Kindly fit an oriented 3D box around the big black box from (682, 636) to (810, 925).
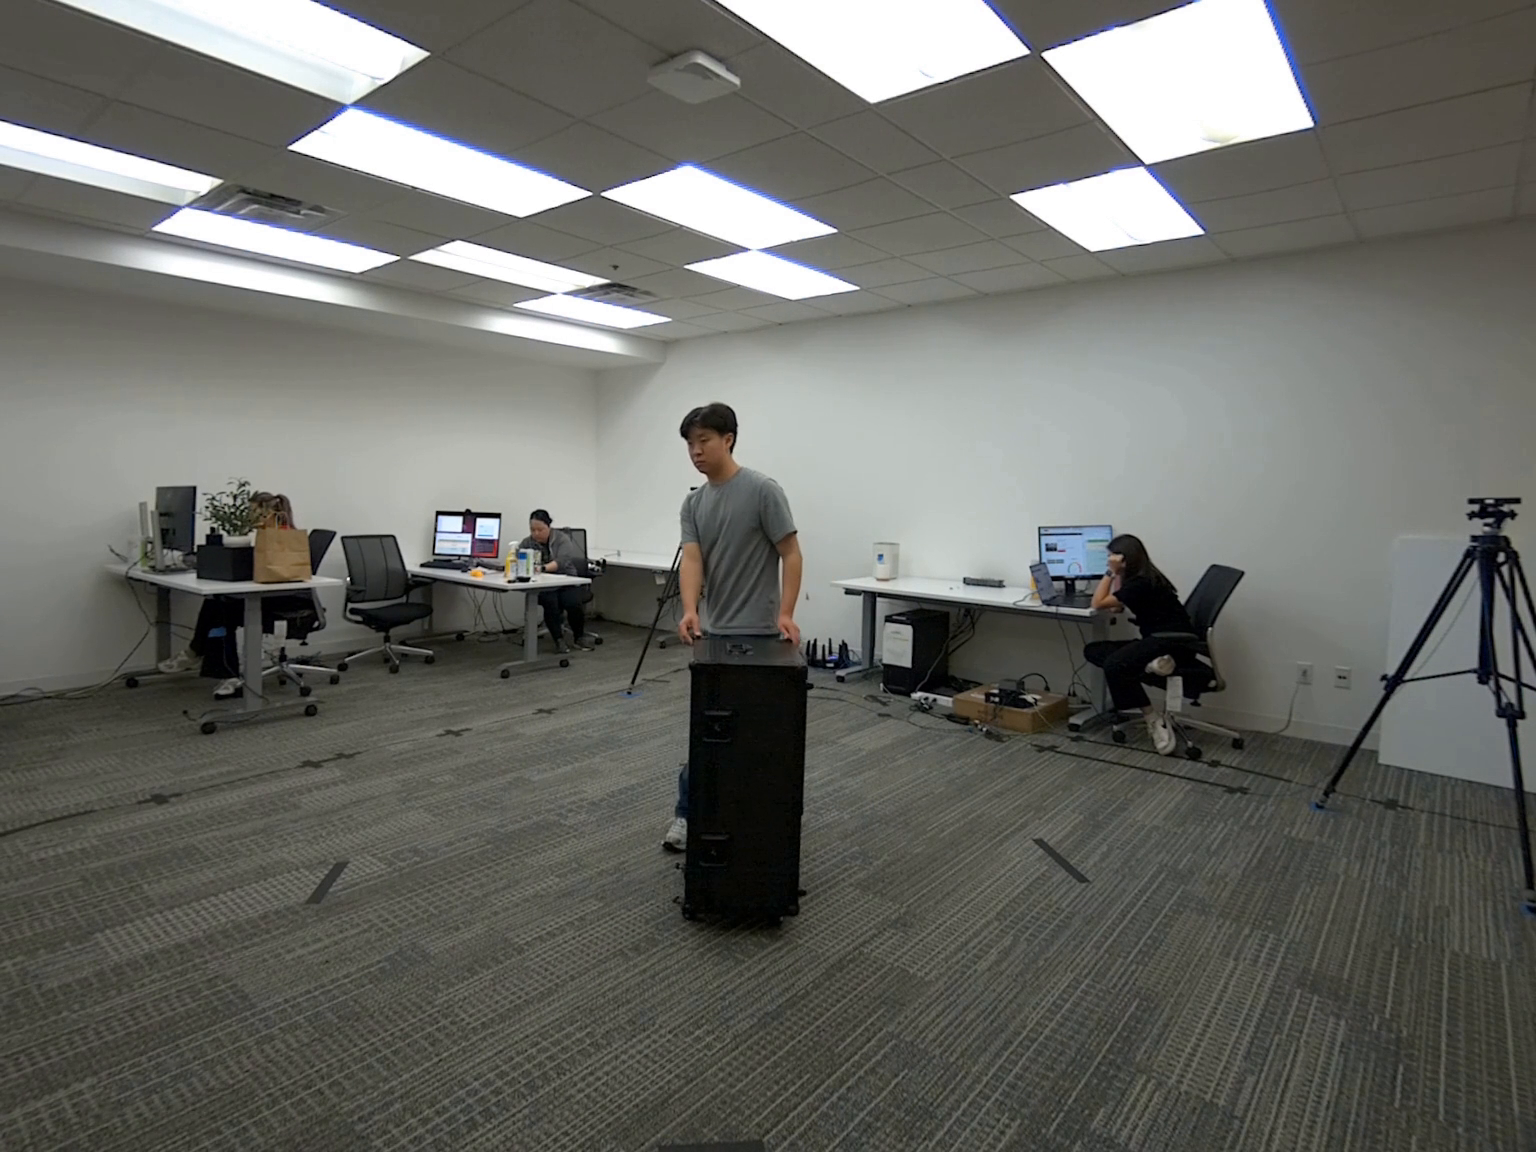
[{"bbox_3d":[-0.092,0.669,2.846,0.396,0.859,0.523,2,3,-2],"label":"big black box"}]
